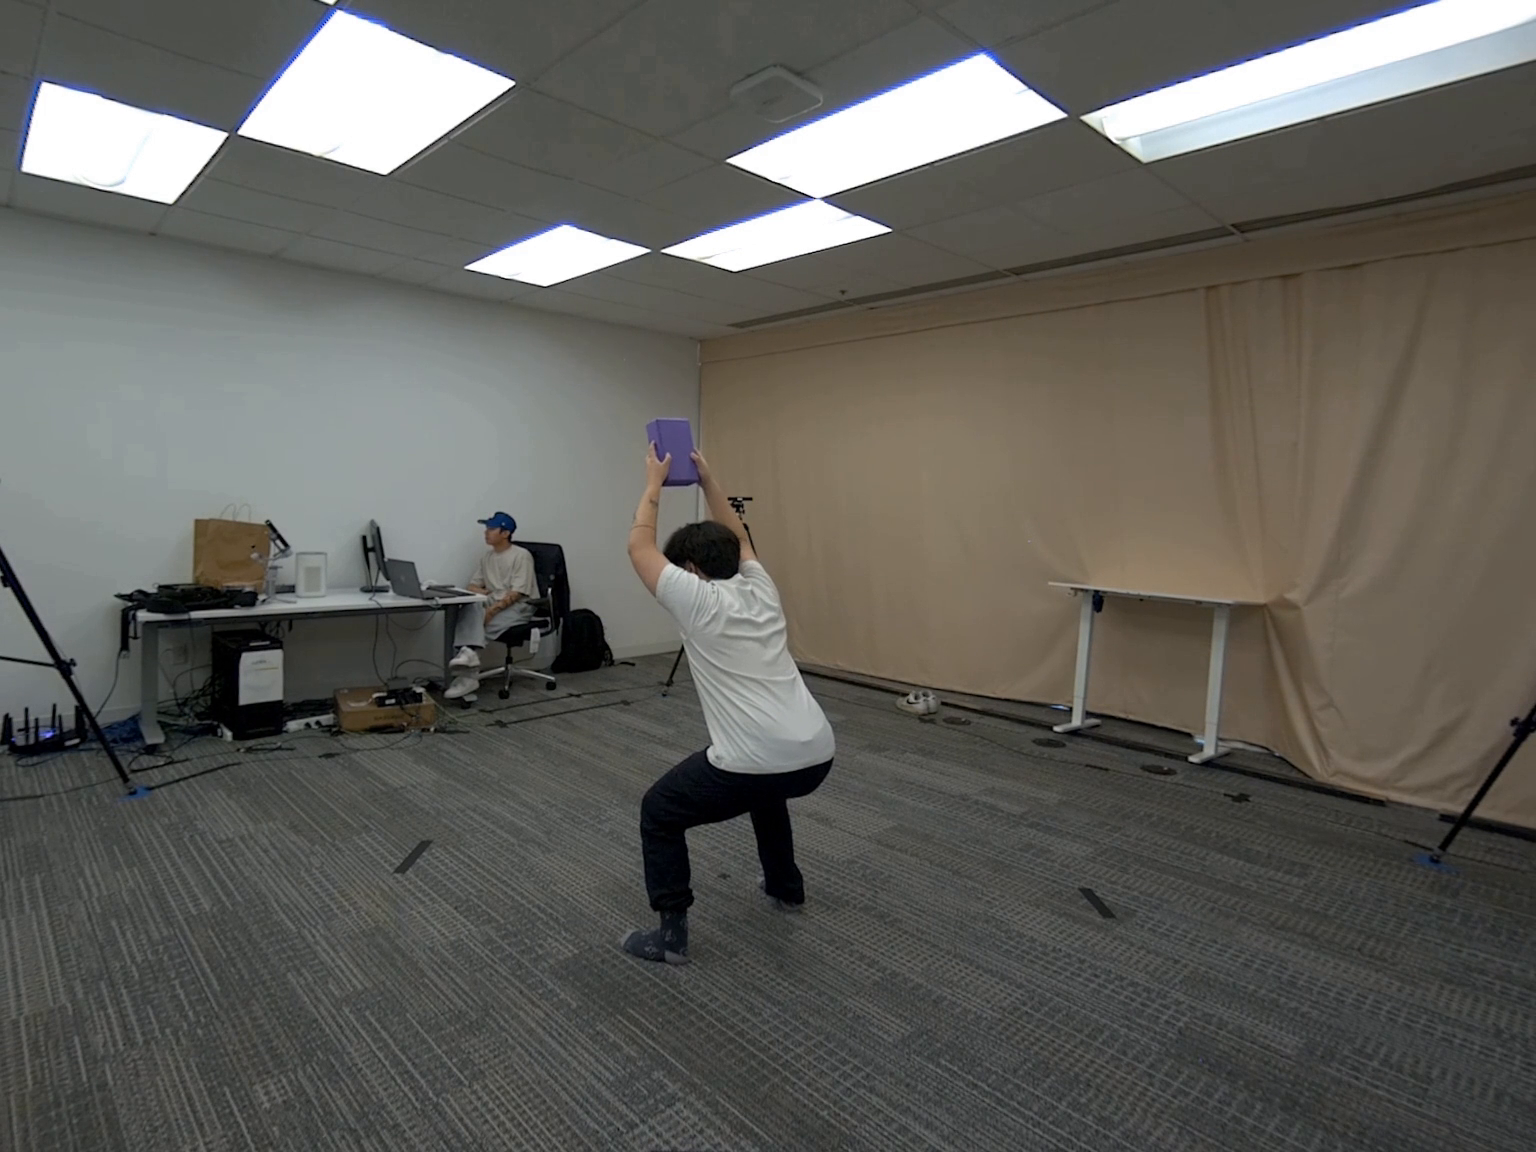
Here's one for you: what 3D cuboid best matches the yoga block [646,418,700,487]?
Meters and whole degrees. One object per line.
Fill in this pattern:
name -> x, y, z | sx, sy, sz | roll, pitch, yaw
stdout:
yoga block -> -0.342, -0.433, 2.936 | 0.146, 0.231, 0.077 | -5, -9, -42
